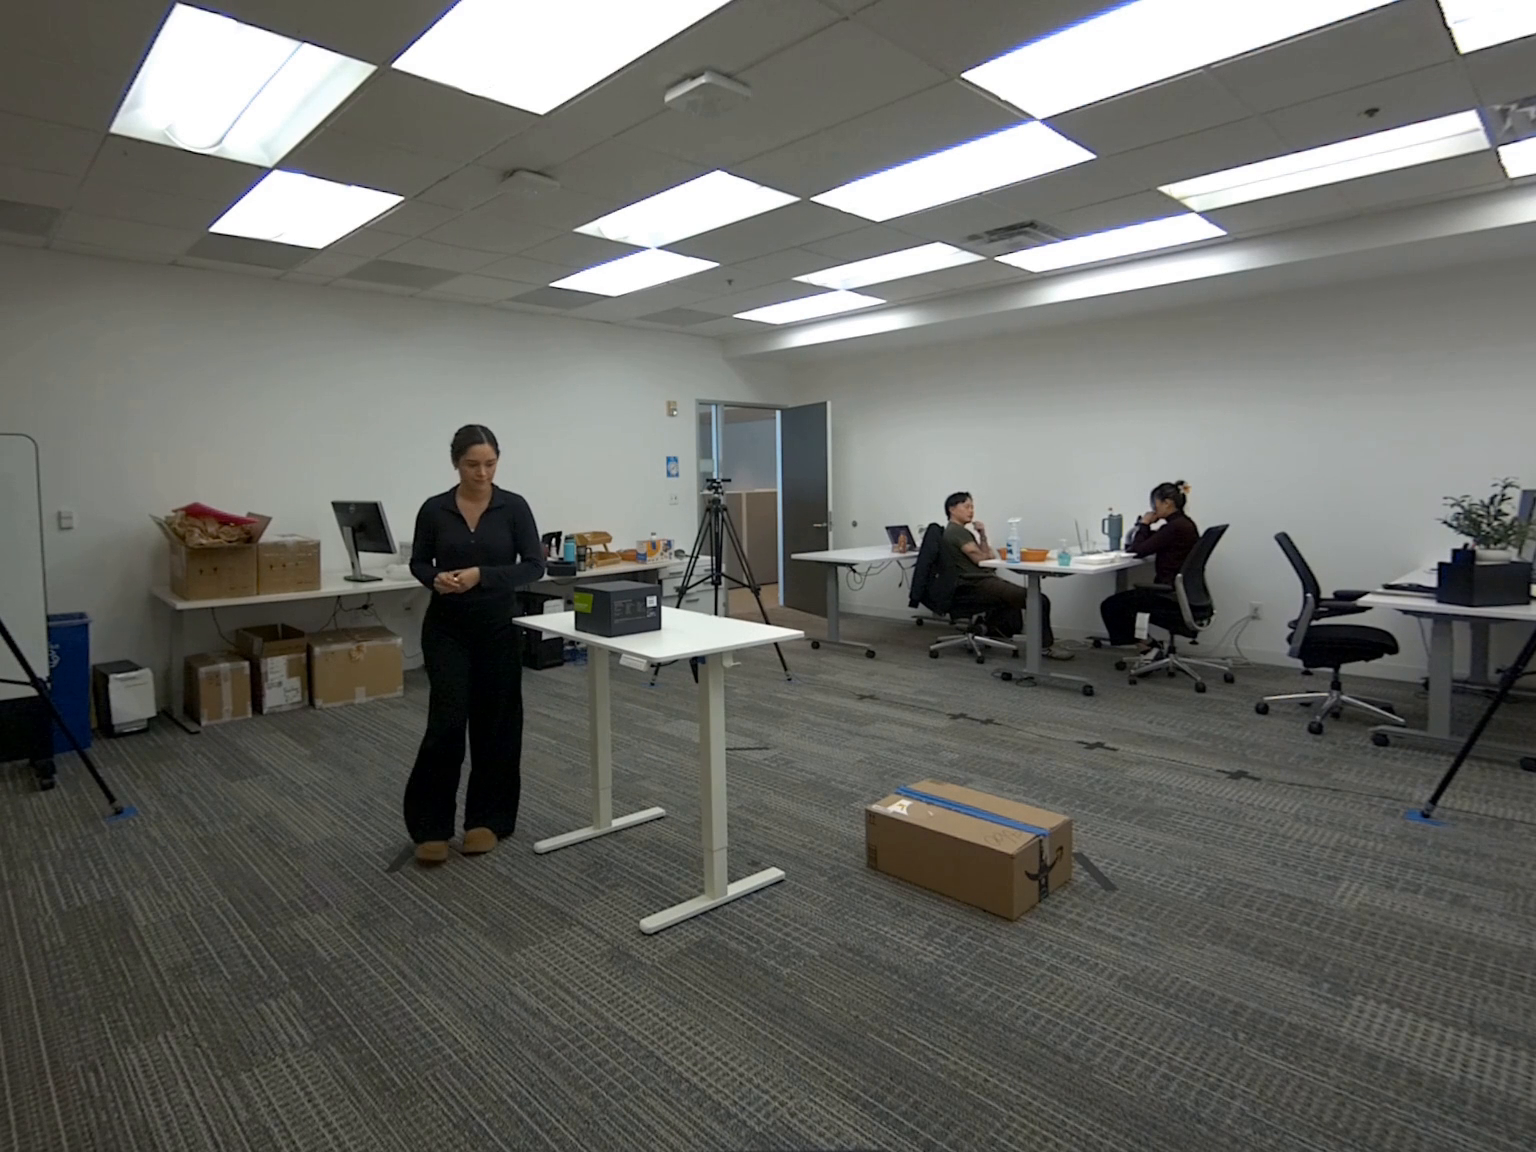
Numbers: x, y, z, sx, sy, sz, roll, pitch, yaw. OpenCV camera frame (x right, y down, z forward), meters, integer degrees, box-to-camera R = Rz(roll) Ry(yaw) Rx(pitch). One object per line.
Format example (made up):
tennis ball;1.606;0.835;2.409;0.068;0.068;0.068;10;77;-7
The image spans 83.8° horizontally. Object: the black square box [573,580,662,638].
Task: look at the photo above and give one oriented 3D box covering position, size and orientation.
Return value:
black square box;-0.518;0.110;2.956;0.211;0.155;0.235;-6;7;-42
